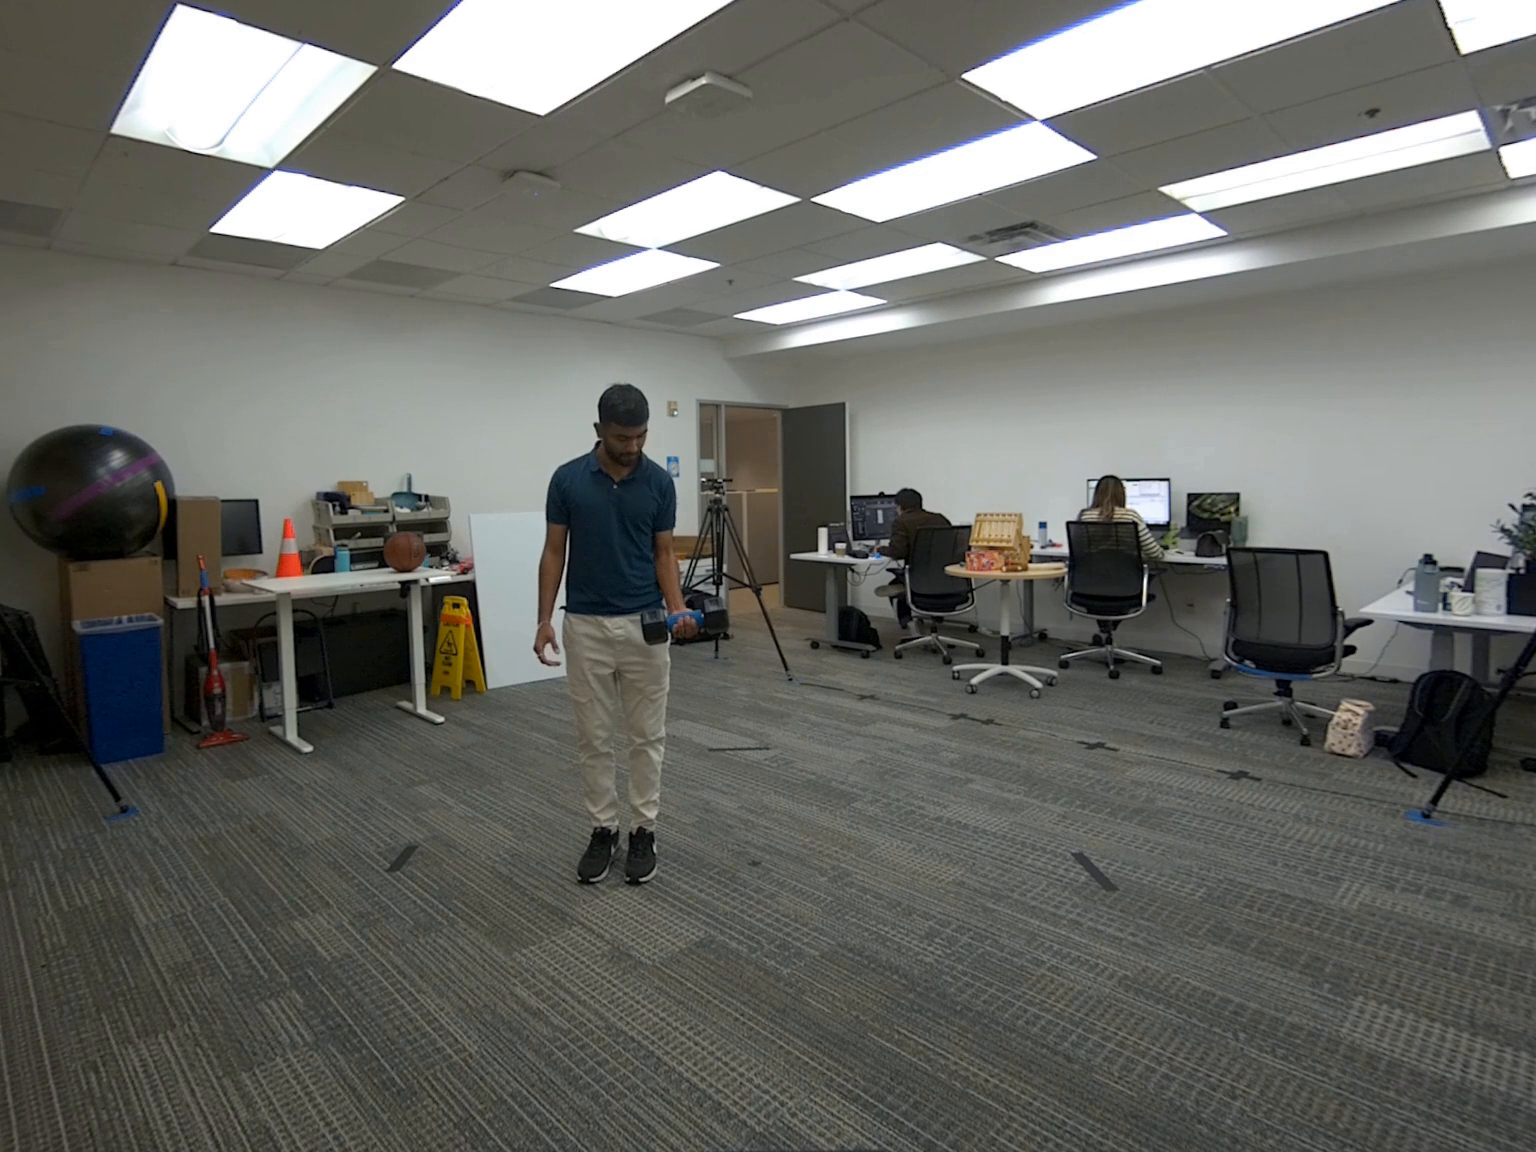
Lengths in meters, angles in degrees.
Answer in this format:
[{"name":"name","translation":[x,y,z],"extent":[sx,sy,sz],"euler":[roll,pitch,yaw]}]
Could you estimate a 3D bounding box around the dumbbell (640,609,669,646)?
[{"name":"dumbbell","translation":[-0.299,0.145,2.894],"extent":[0.293,0.105,0.127],"euler":[-7,44,-2]}]
